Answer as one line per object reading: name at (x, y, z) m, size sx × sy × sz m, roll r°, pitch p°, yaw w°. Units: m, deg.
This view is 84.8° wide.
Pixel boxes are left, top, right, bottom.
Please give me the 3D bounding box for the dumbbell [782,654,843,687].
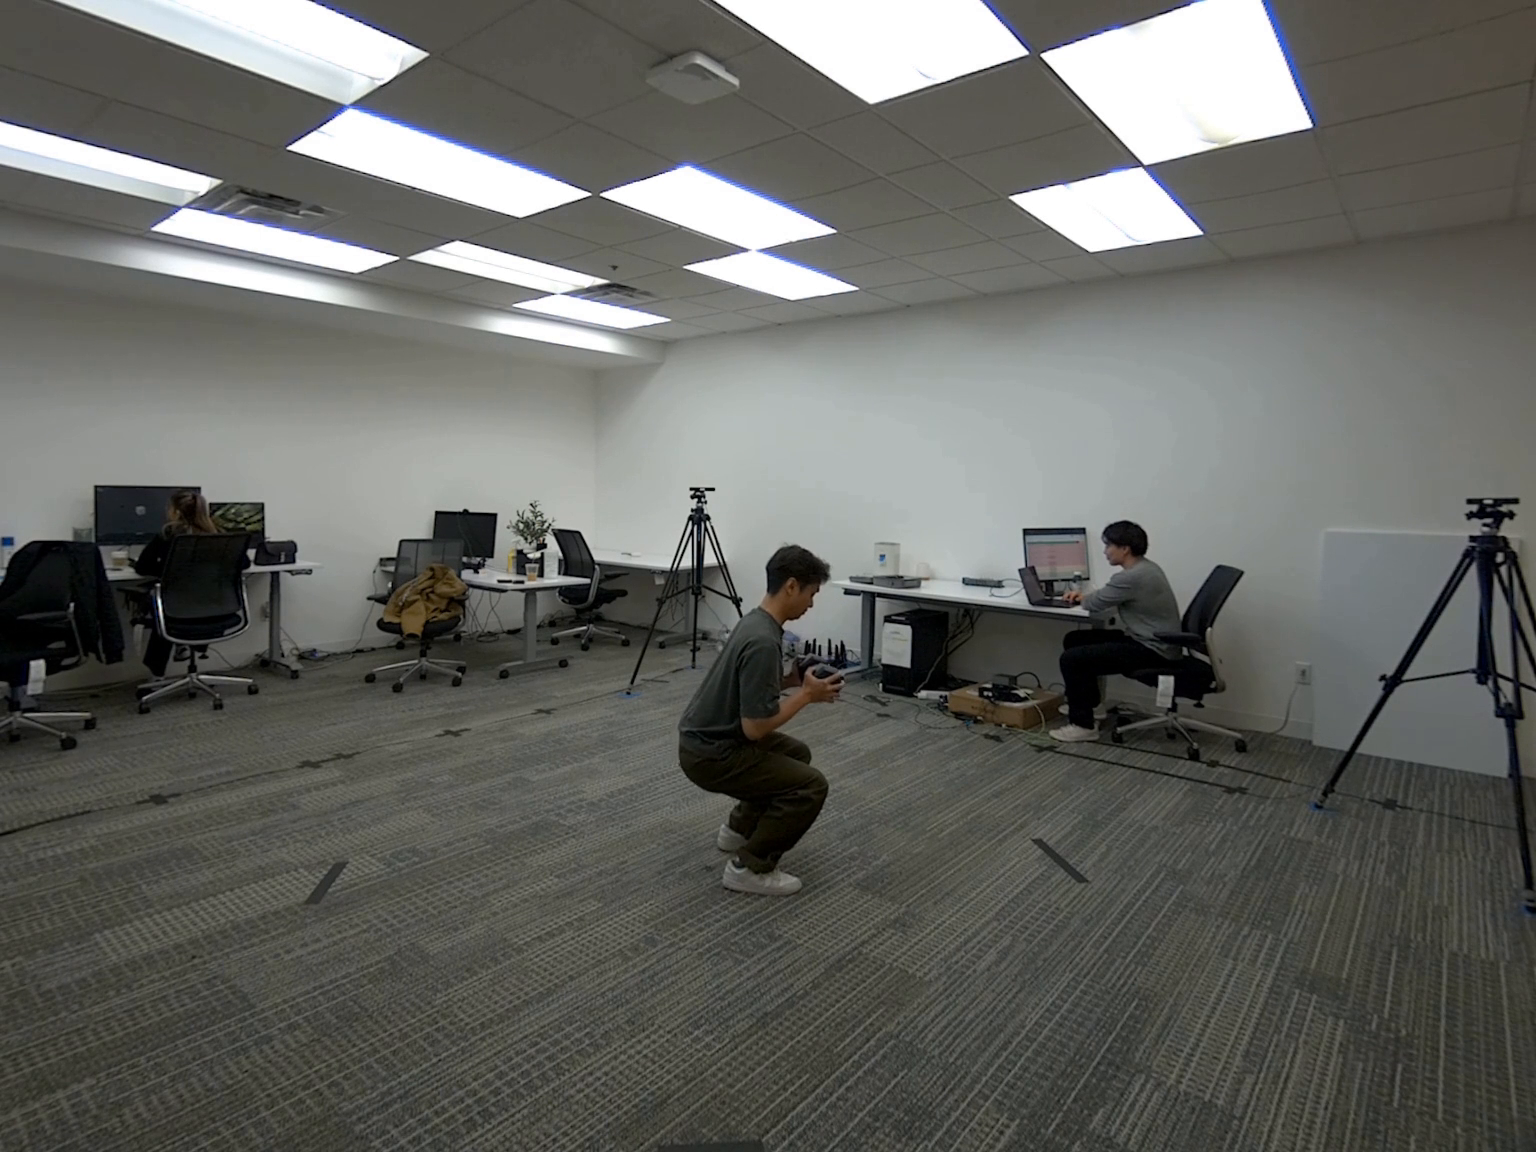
dumbbell at (0.172, 0.365, 3.115) m, size 0.123 × 0.107 × 0.297 m, roll -40°, pitch 9°, yaw -3°
